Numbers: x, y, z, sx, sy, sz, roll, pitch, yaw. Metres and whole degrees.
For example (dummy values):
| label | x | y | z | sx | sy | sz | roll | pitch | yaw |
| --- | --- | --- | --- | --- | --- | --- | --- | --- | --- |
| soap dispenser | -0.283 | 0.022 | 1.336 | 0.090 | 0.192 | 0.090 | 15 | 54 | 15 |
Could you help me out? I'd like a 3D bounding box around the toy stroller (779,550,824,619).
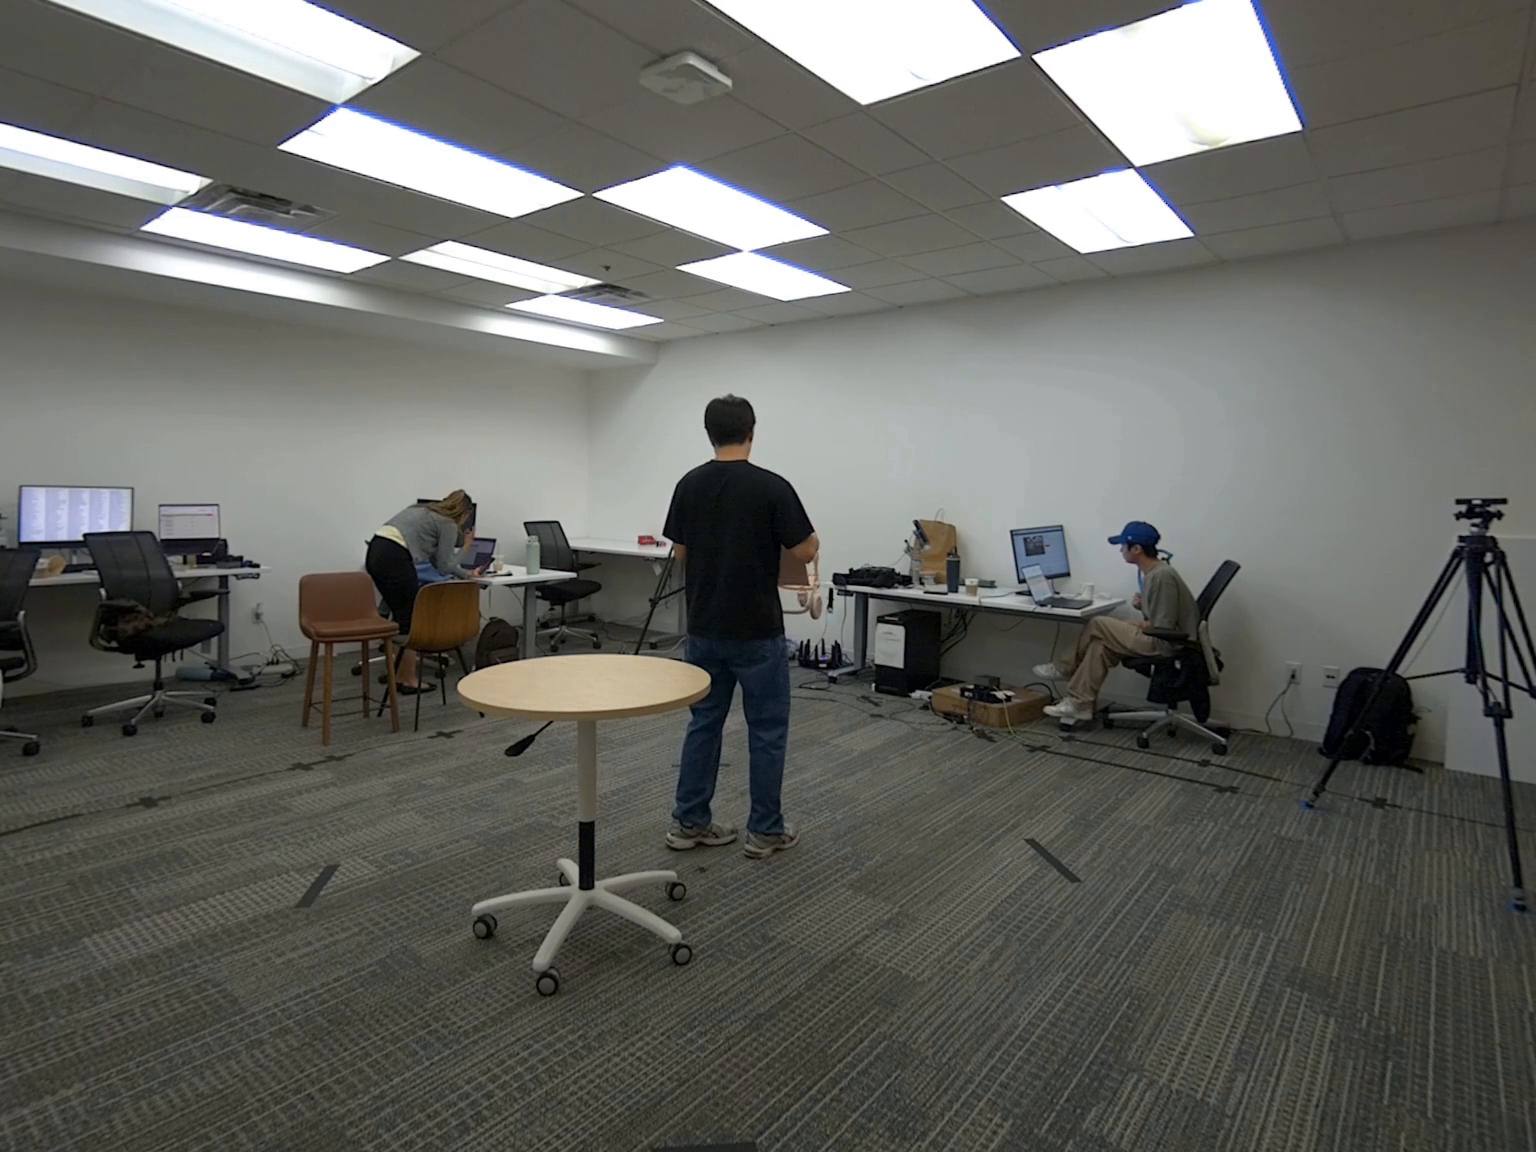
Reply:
| label | x | y | z | sx | sy | sz | roll | pitch | yaw |
| --- | --- | --- | --- | --- | --- | --- | --- | --- | --- |
| toy stroller | 0.086 | -0.056 | 3.639 | 0.288 | 0.524 | 0.340 | 0 | 22 | 24 |
